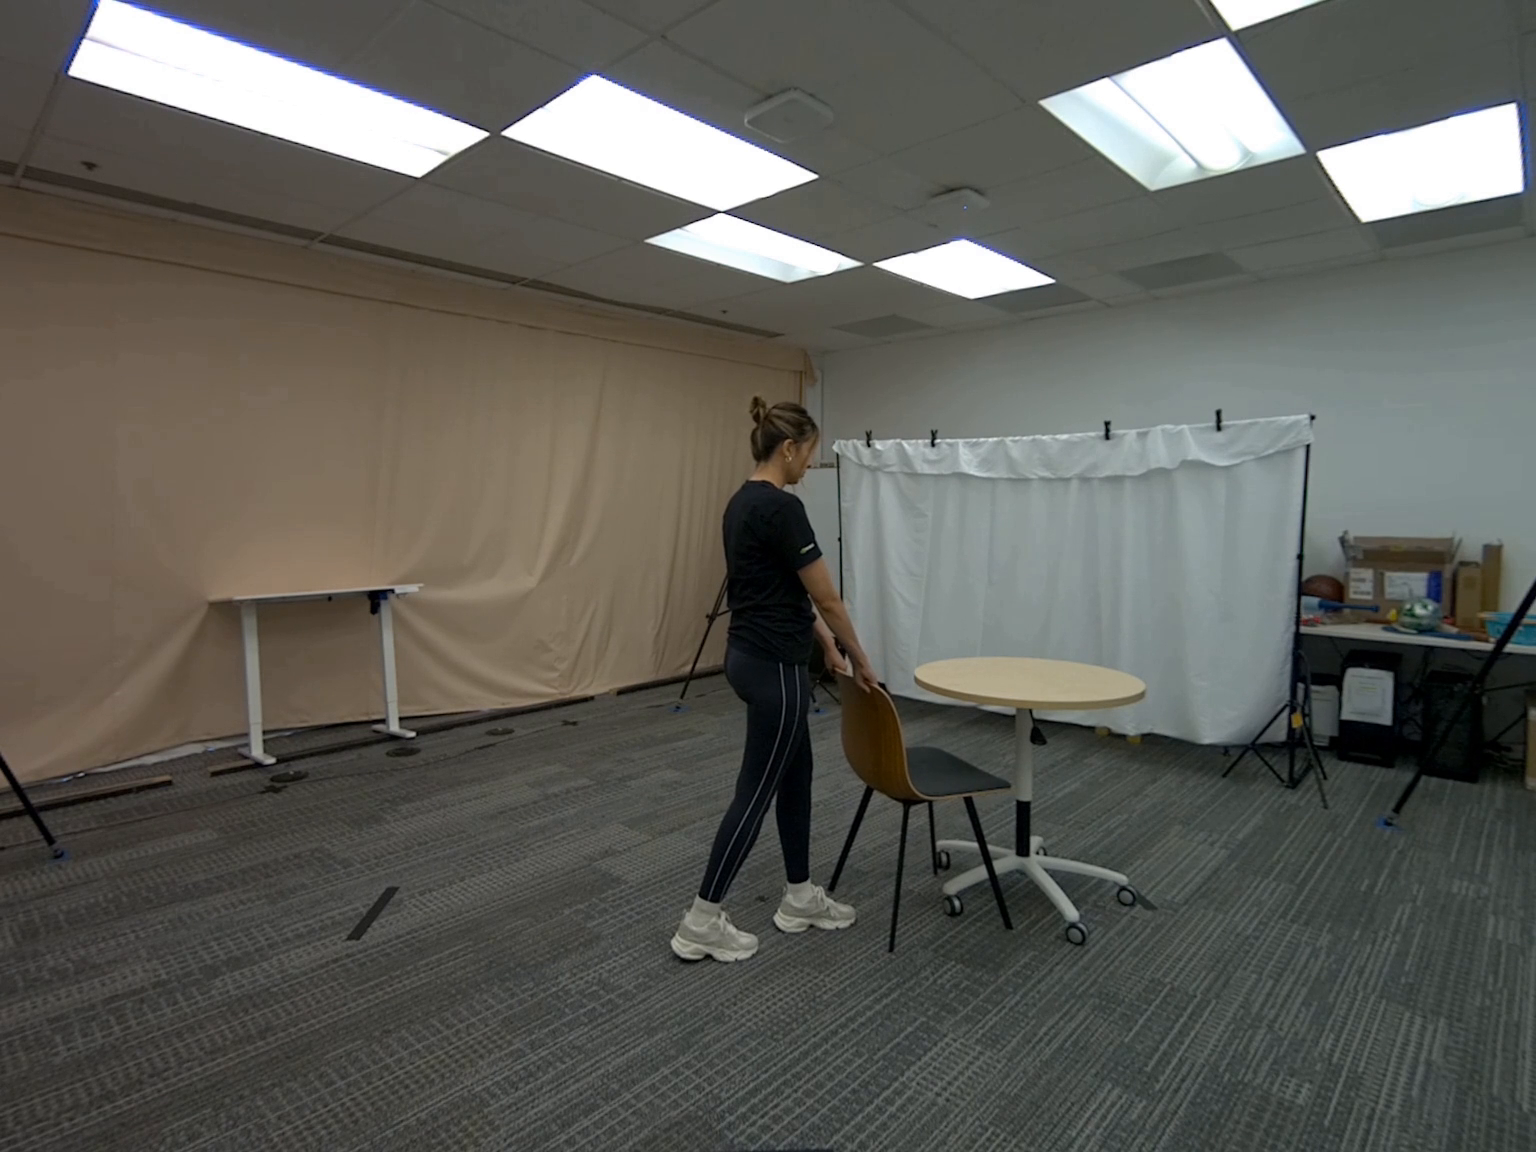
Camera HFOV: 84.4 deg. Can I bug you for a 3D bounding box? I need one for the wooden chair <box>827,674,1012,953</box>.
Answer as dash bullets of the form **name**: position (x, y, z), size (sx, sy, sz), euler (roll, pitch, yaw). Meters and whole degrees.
- **wooden chair**: position (0.516, 0.723, 2.870), size (0.514, 0.875, 0.488), euler (-6, 4, -19)
